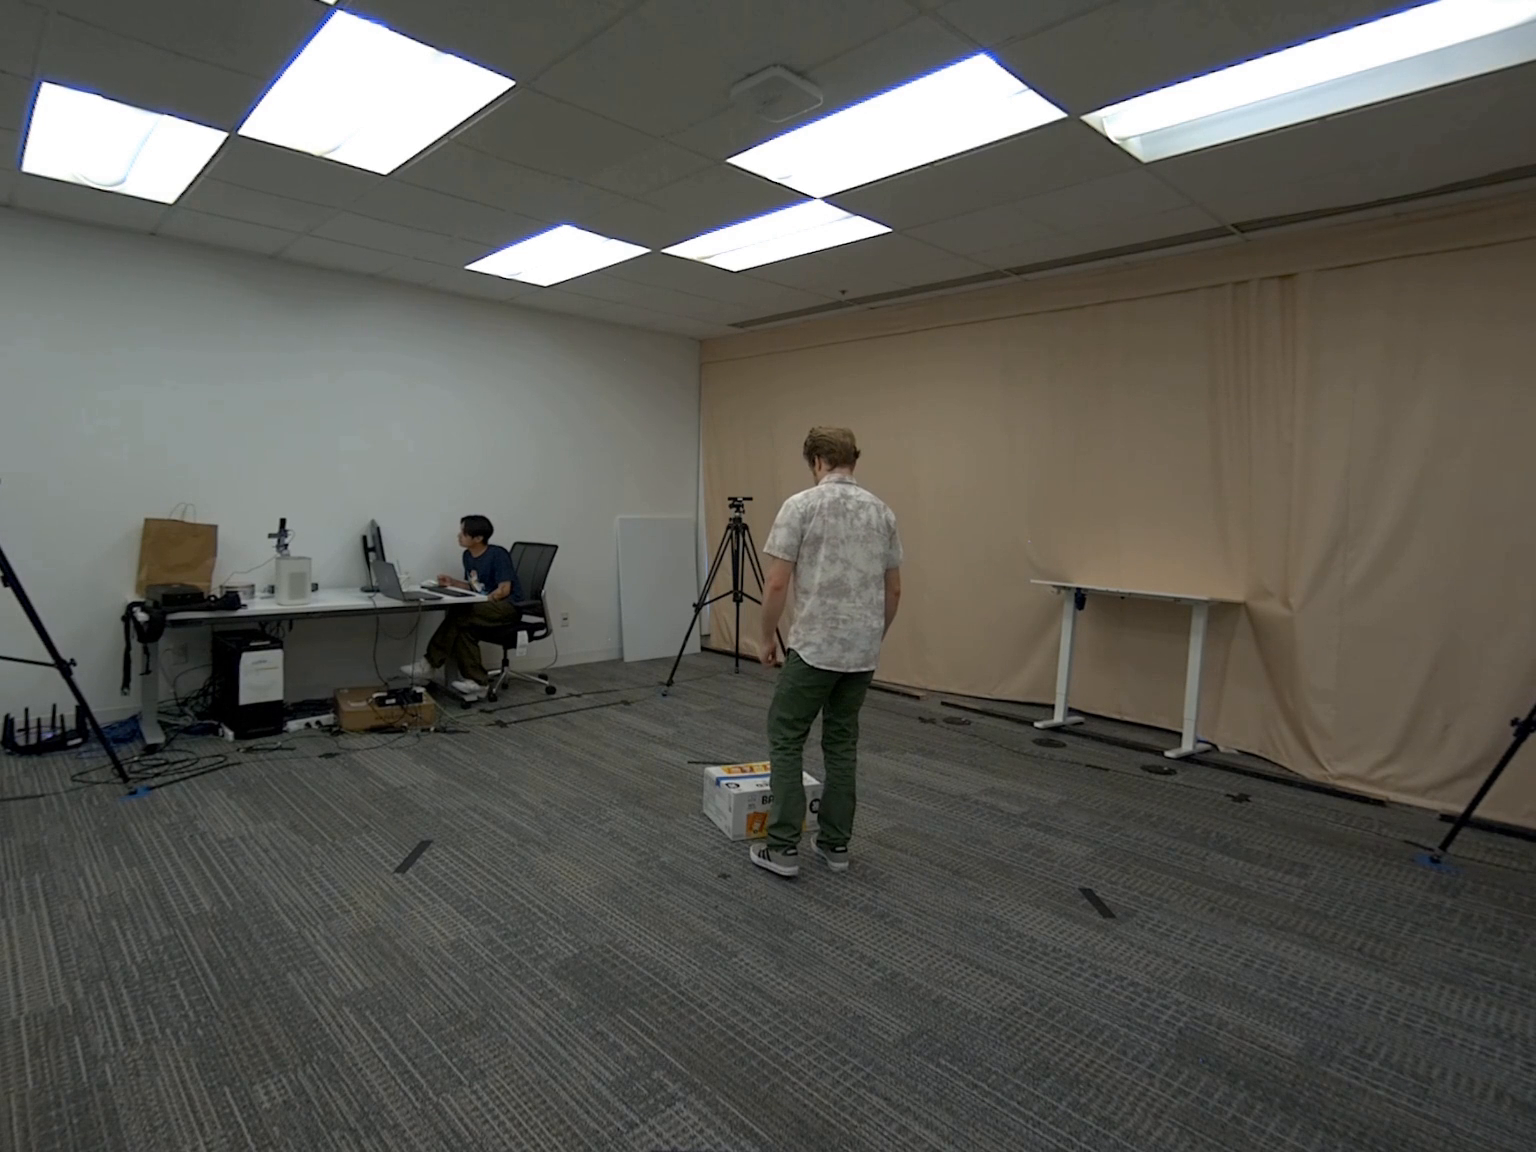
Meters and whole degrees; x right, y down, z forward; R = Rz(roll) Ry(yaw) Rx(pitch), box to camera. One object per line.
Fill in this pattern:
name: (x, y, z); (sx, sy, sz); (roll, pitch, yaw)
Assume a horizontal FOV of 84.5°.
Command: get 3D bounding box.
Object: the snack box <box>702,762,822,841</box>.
snack box: (-0.040, 0.960, 3.640); (0.398, 0.205, 0.347); (0, 5, -24)
